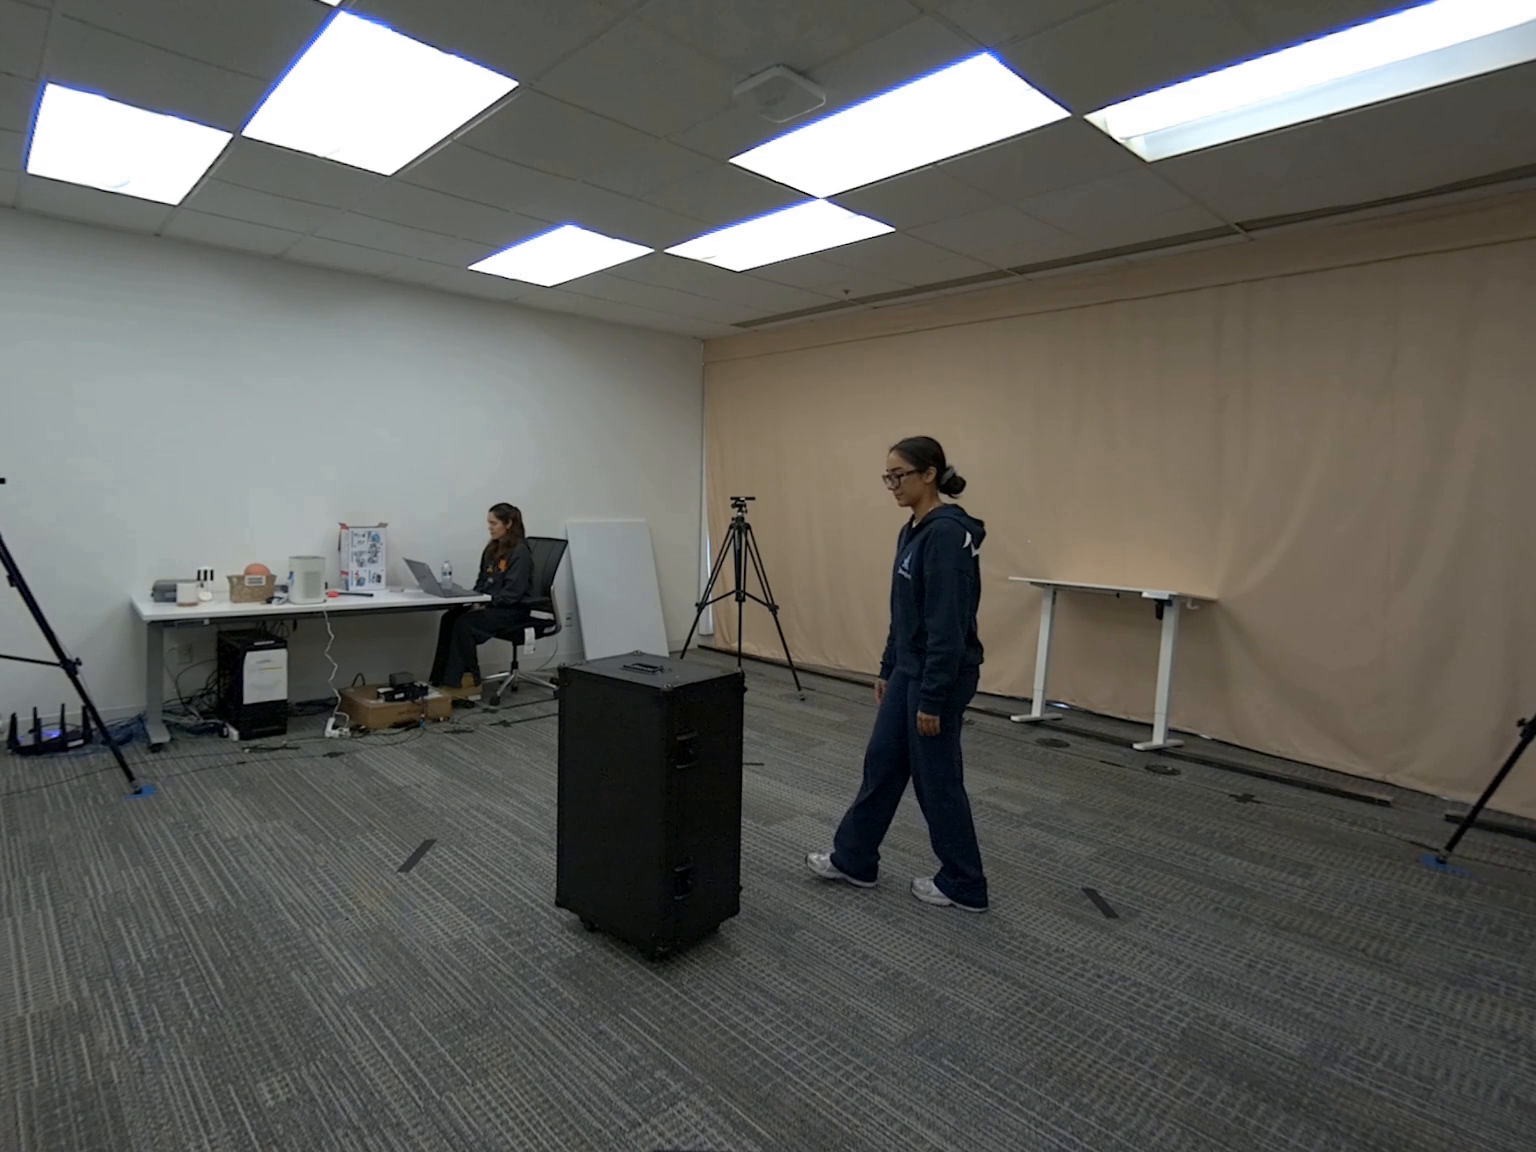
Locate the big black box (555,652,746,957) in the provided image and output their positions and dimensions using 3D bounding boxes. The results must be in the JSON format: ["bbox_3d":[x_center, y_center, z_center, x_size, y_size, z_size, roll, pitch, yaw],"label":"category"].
[{"bbox_3d":[-0.367,0.722,2.667,0.406,0.859,0.510,4,4,38],"label":"big black box"}]
